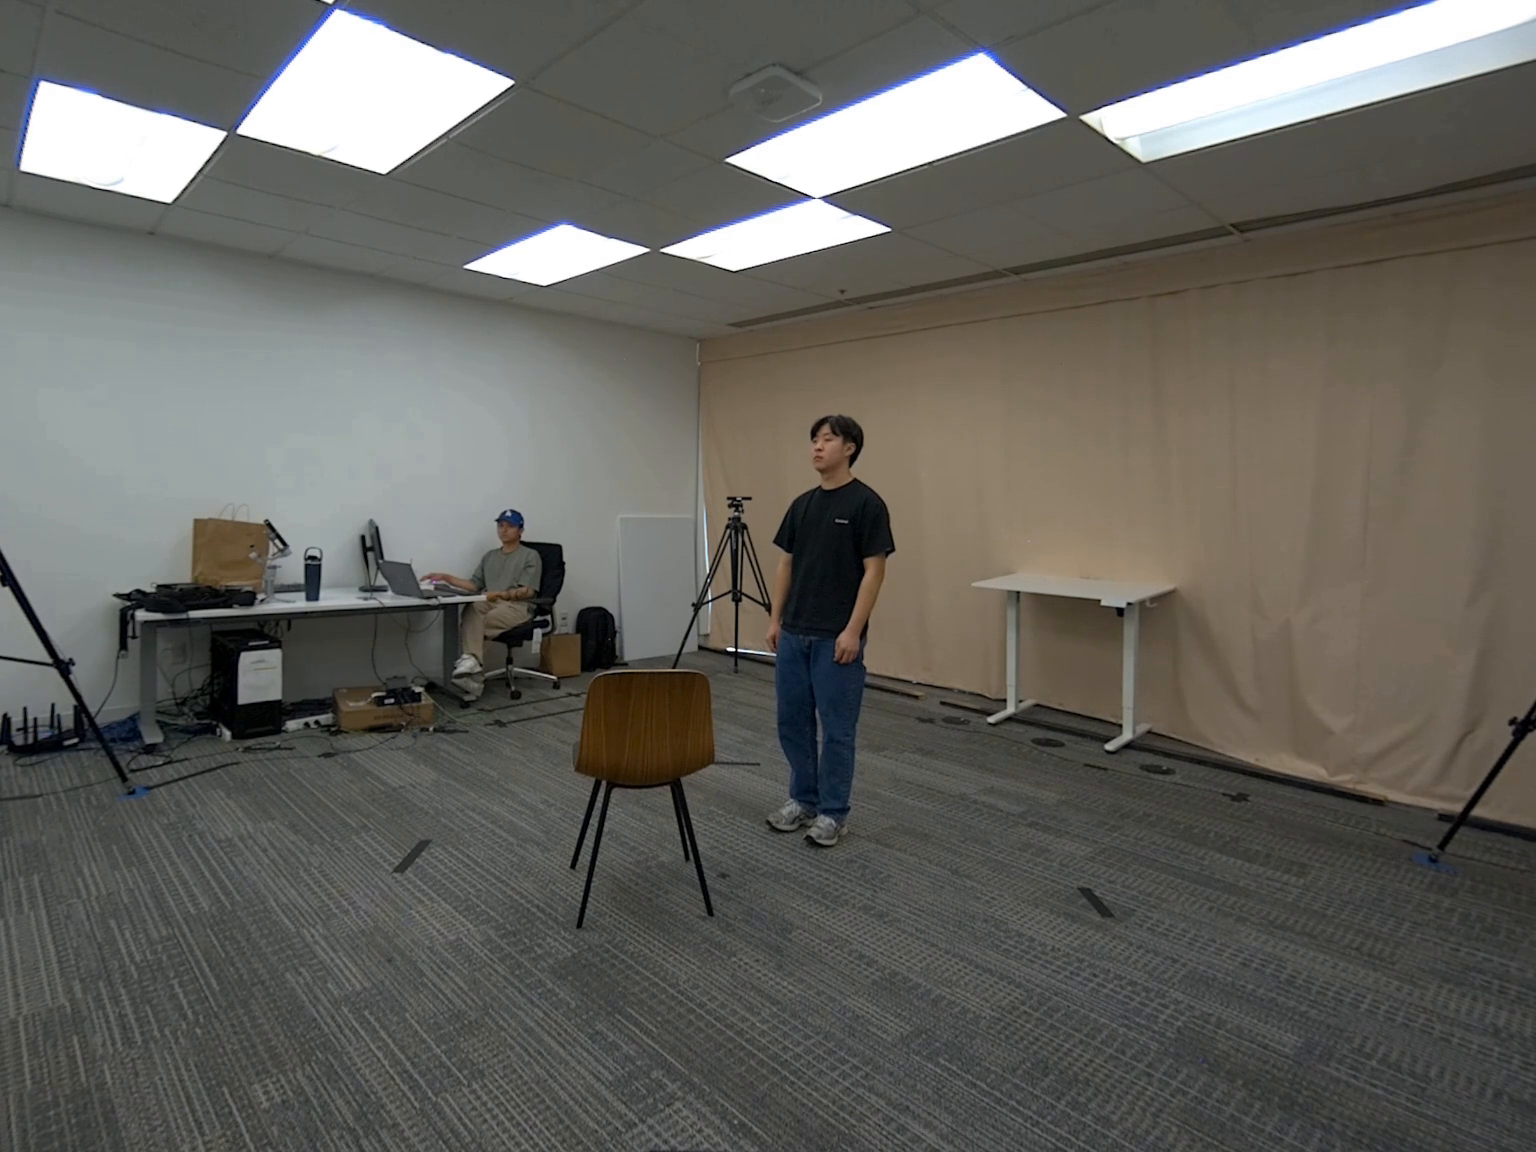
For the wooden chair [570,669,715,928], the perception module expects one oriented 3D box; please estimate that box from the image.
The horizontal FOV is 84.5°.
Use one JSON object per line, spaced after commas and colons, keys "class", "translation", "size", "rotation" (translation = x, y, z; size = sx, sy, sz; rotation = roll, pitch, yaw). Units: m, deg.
{"class": "wooden chair", "translation": [-0.449, 0.691, 2.940], "size": [0.473, 0.873, 0.532], "rotation": [0, 8, -15]}
